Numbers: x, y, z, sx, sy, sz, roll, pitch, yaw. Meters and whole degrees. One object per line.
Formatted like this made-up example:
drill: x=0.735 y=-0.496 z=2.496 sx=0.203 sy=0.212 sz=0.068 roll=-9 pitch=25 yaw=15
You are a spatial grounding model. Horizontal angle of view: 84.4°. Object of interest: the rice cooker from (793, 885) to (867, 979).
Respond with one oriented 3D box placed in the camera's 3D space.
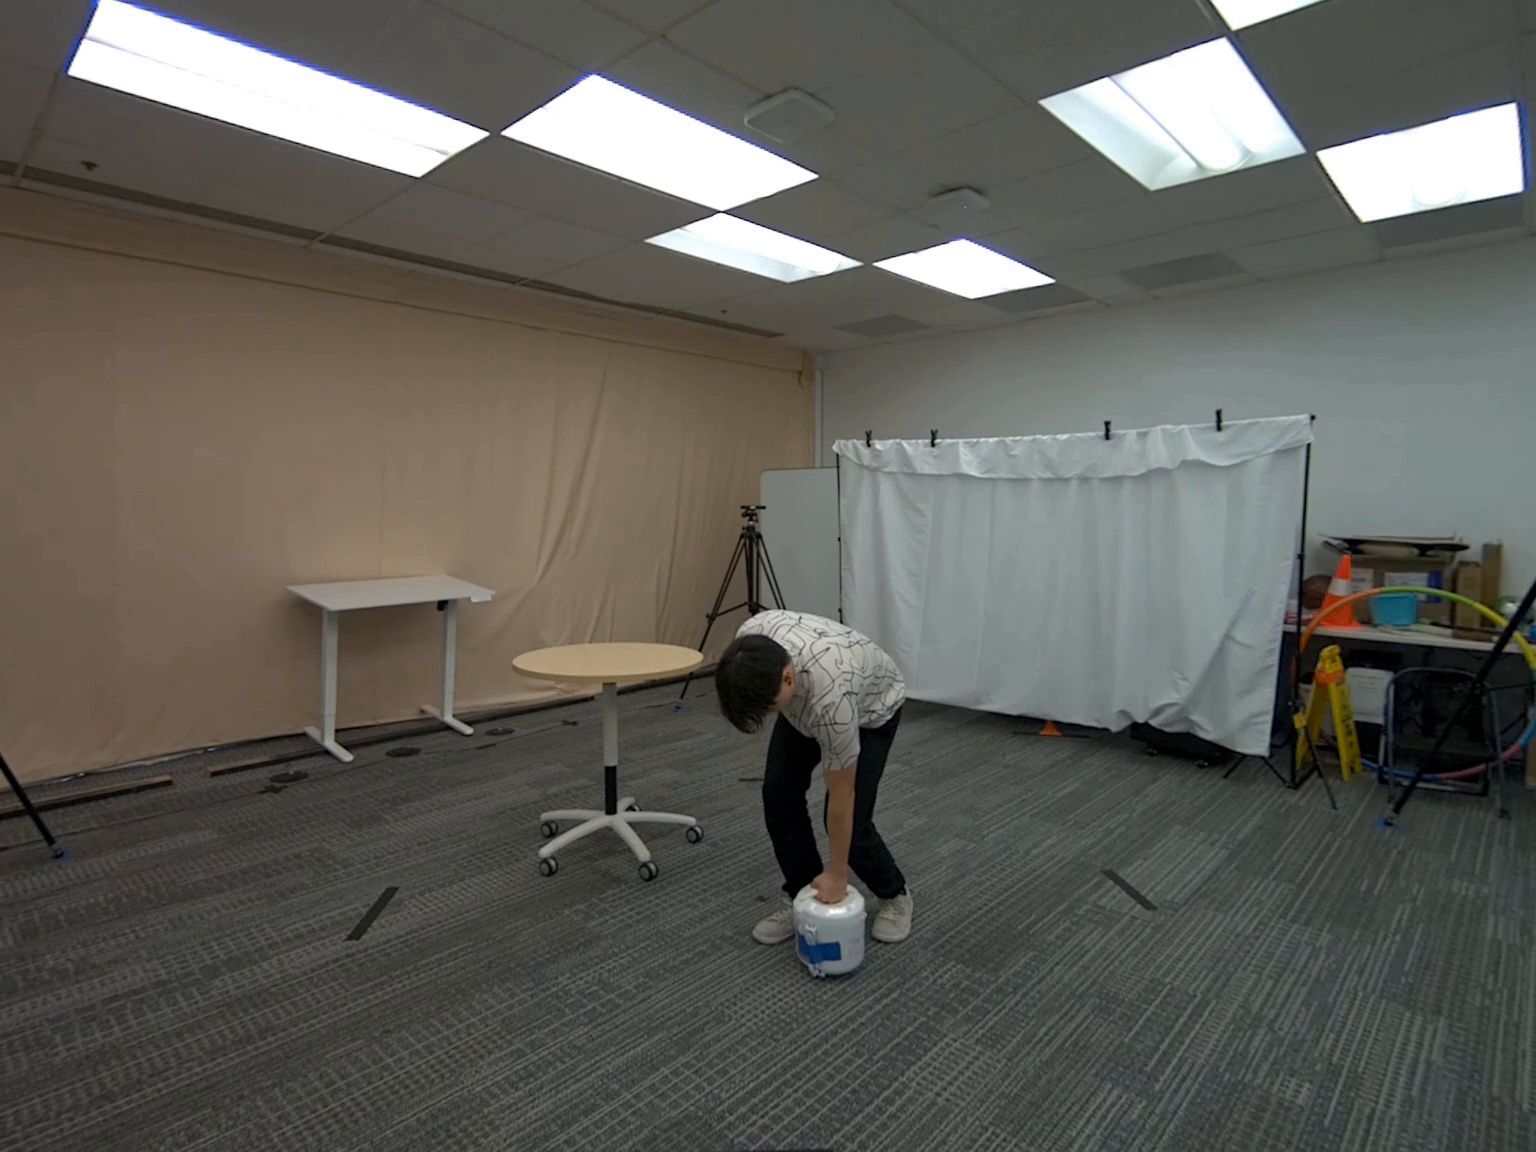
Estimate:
rice cooker: x=0.187 y=1.035 z=2.539 sx=0.218 sy=0.232 sz=0.221 roll=-1 pitch=7 yaw=-12
